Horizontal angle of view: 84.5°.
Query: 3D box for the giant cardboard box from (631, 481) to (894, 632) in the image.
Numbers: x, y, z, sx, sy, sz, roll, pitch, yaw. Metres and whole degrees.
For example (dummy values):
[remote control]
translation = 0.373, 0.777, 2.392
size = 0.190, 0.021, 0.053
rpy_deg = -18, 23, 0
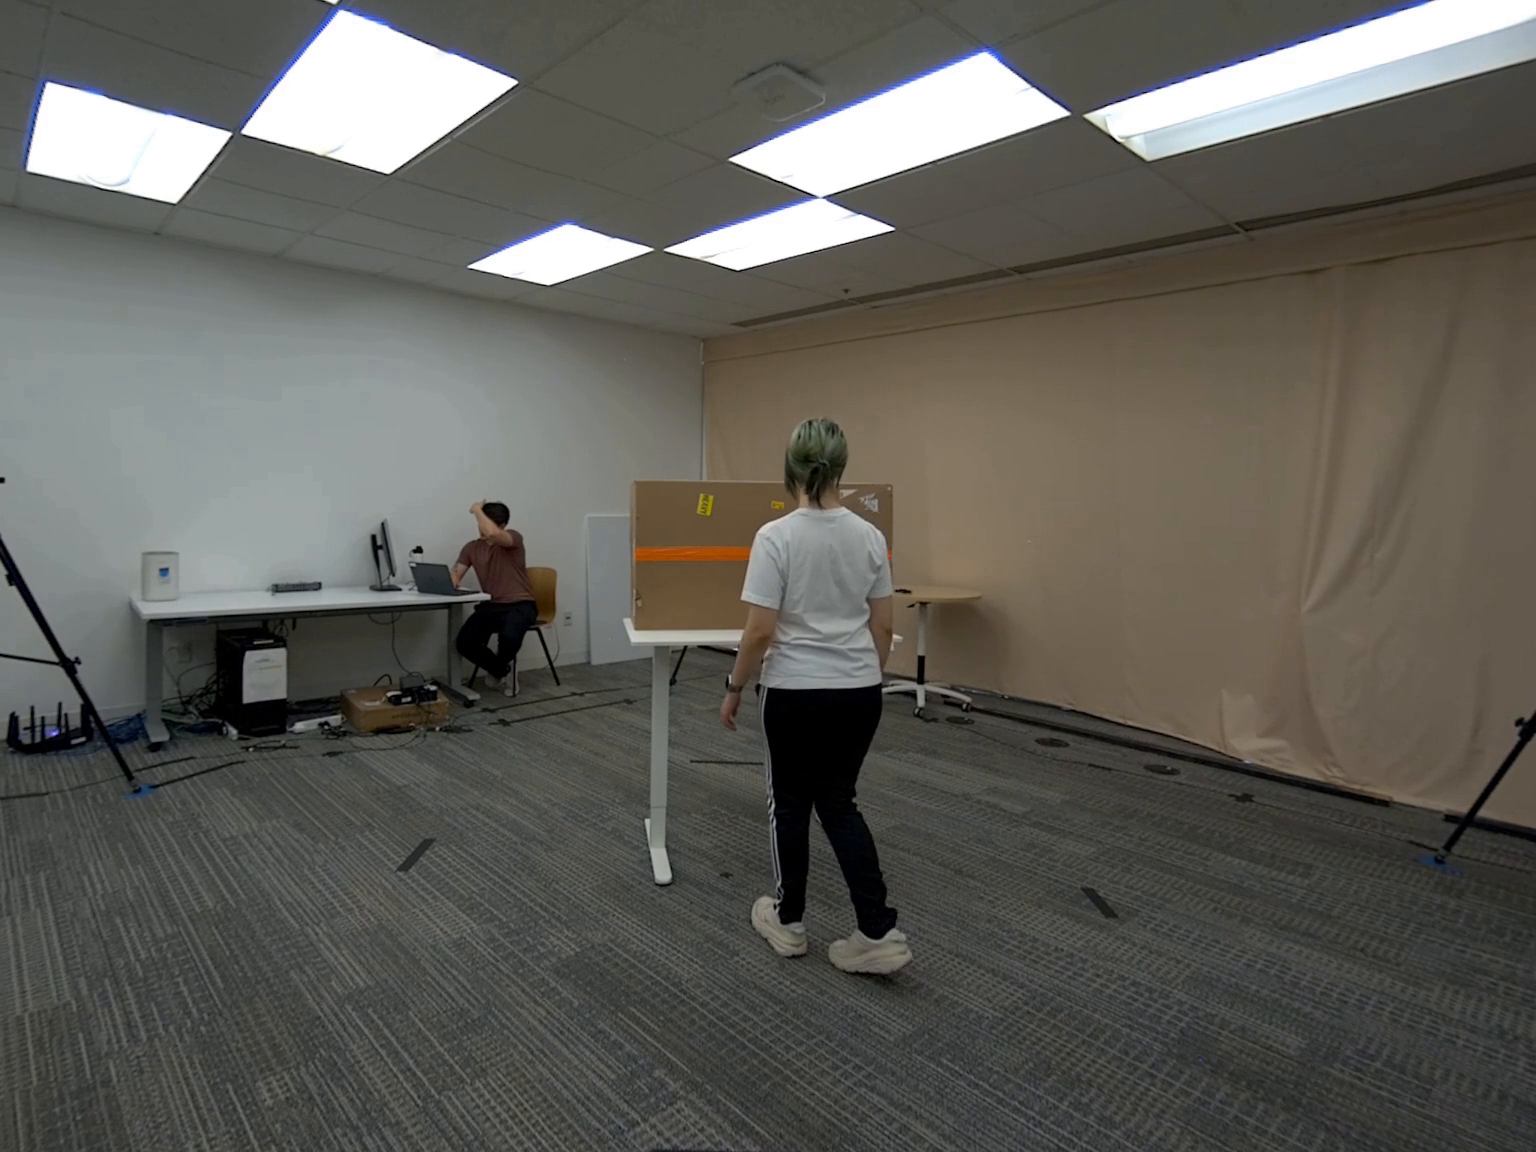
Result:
[giant cardboard box]
translation = -0.058, -0.094, 3.464
size = 1.019, 0.583, 0.451
rpy_deg = 0, 3, -10
